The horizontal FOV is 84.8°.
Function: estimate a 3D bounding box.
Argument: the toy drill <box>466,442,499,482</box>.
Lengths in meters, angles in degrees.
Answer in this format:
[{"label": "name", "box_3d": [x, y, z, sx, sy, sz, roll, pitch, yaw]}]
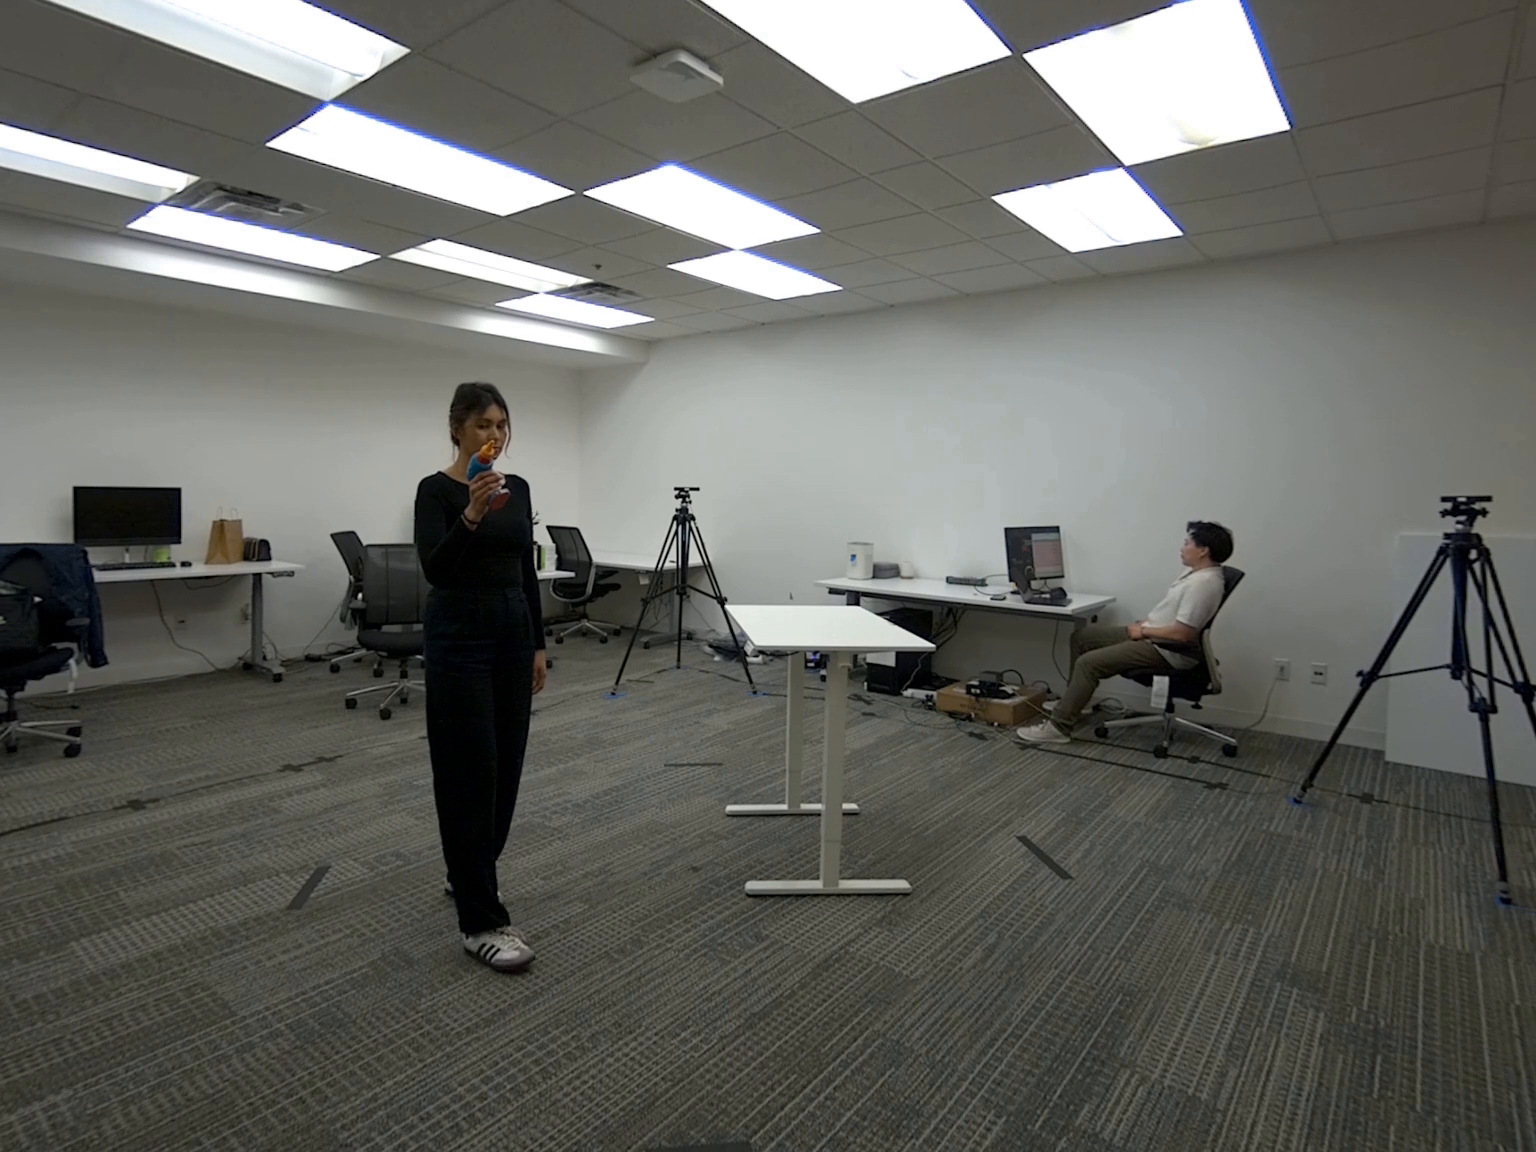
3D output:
[{"label": "toy drill", "box_3d": [-0.757, -0.279, 2.270, 0.060, 0.149, 0.170, -20, -22, -50]}]
